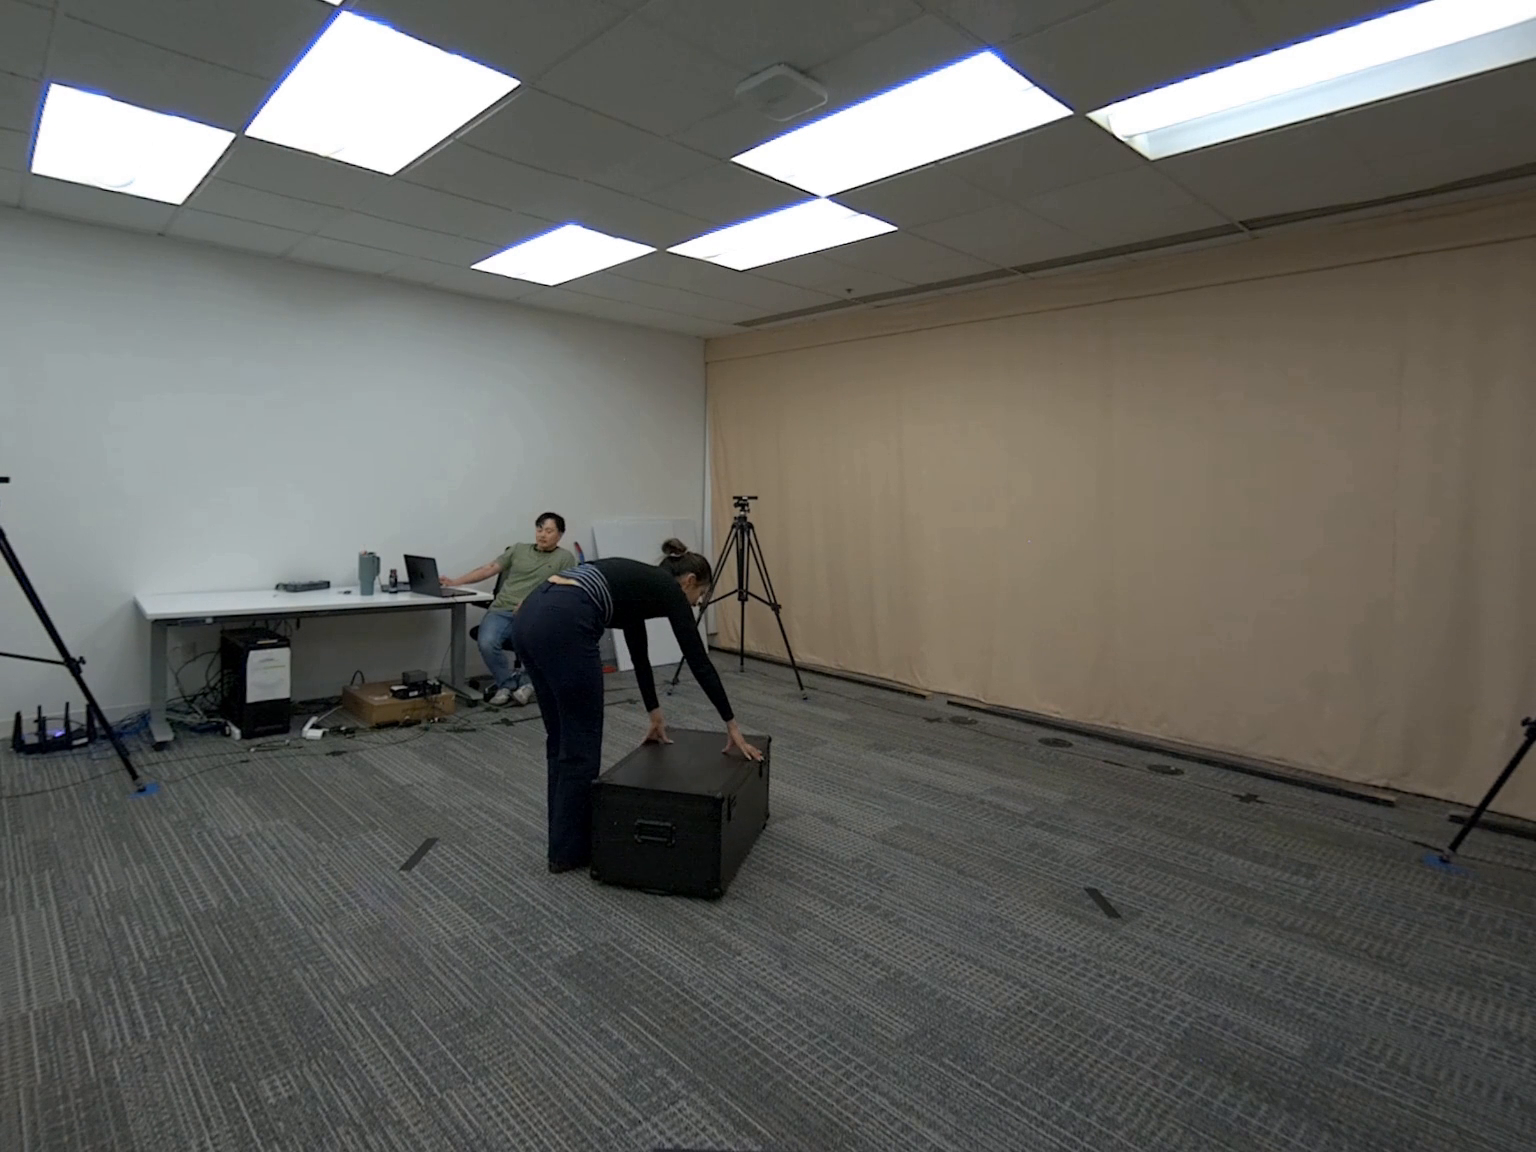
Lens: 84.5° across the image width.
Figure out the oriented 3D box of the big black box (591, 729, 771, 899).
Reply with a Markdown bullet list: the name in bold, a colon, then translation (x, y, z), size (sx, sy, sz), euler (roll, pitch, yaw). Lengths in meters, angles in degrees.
- **big black box**: translation (-0.300, 0.887, 3.321), size (0.527, 0.395, 0.854), euler (2, 5, 13)
